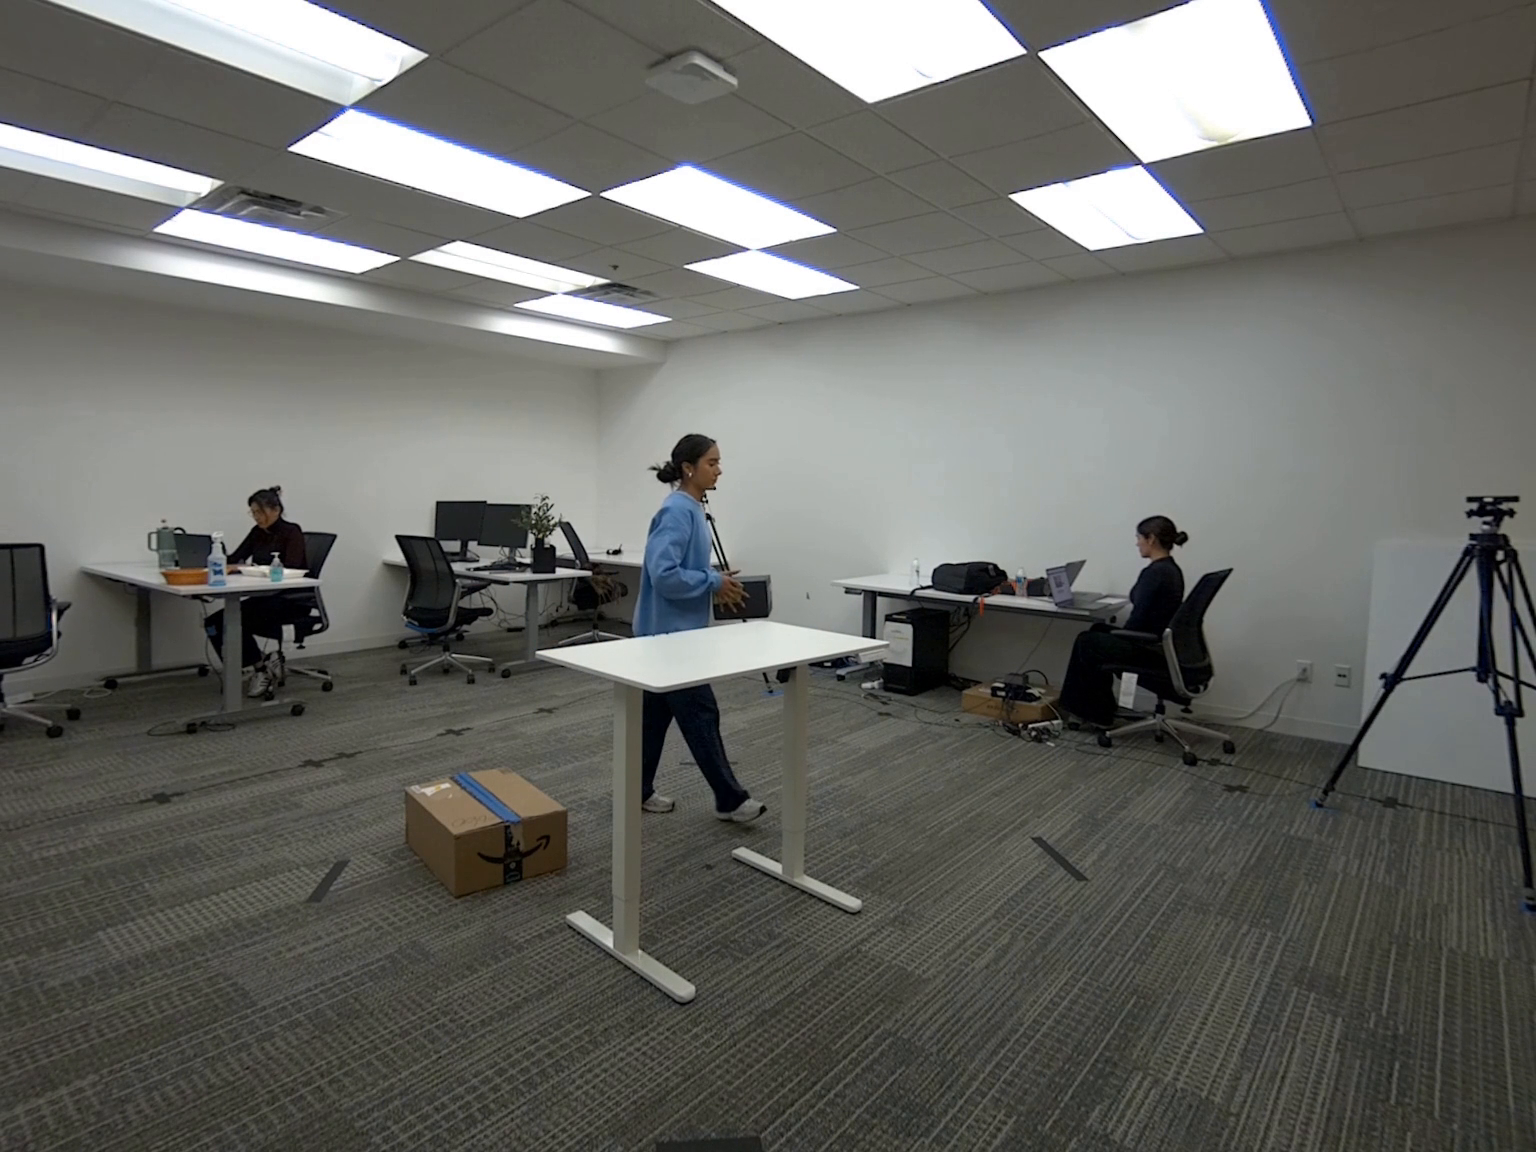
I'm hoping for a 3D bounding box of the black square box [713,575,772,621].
[{"bbox_3d":[-0.117,0.084,3.592,0.229,0.155,0.217,-4,6,4],"label":"black square box"}]
